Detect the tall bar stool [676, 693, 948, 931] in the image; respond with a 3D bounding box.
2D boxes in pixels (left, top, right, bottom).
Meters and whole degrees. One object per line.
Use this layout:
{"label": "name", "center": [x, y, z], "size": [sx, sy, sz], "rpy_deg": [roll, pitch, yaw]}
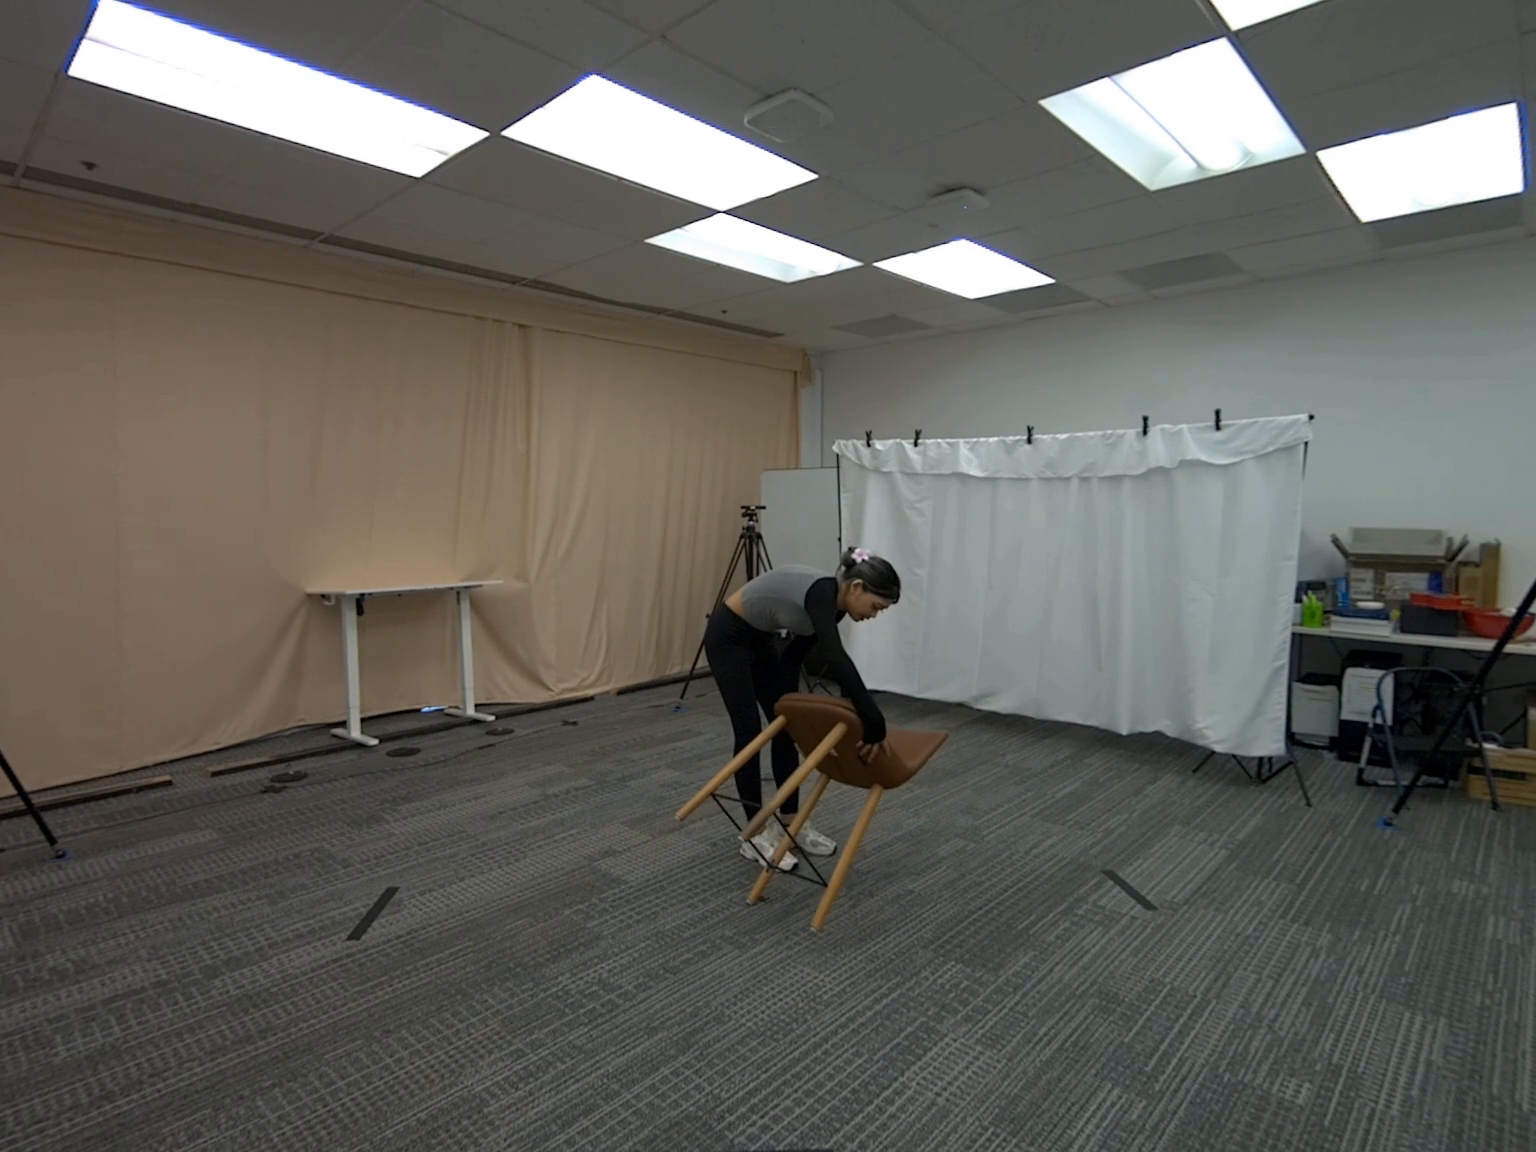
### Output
{"label": "tall bar stool", "center": [0.190, 0.699, 2.944], "size": [0.882, 0.459, 0.469], "rpy_deg": [-45, 20, -29]}
